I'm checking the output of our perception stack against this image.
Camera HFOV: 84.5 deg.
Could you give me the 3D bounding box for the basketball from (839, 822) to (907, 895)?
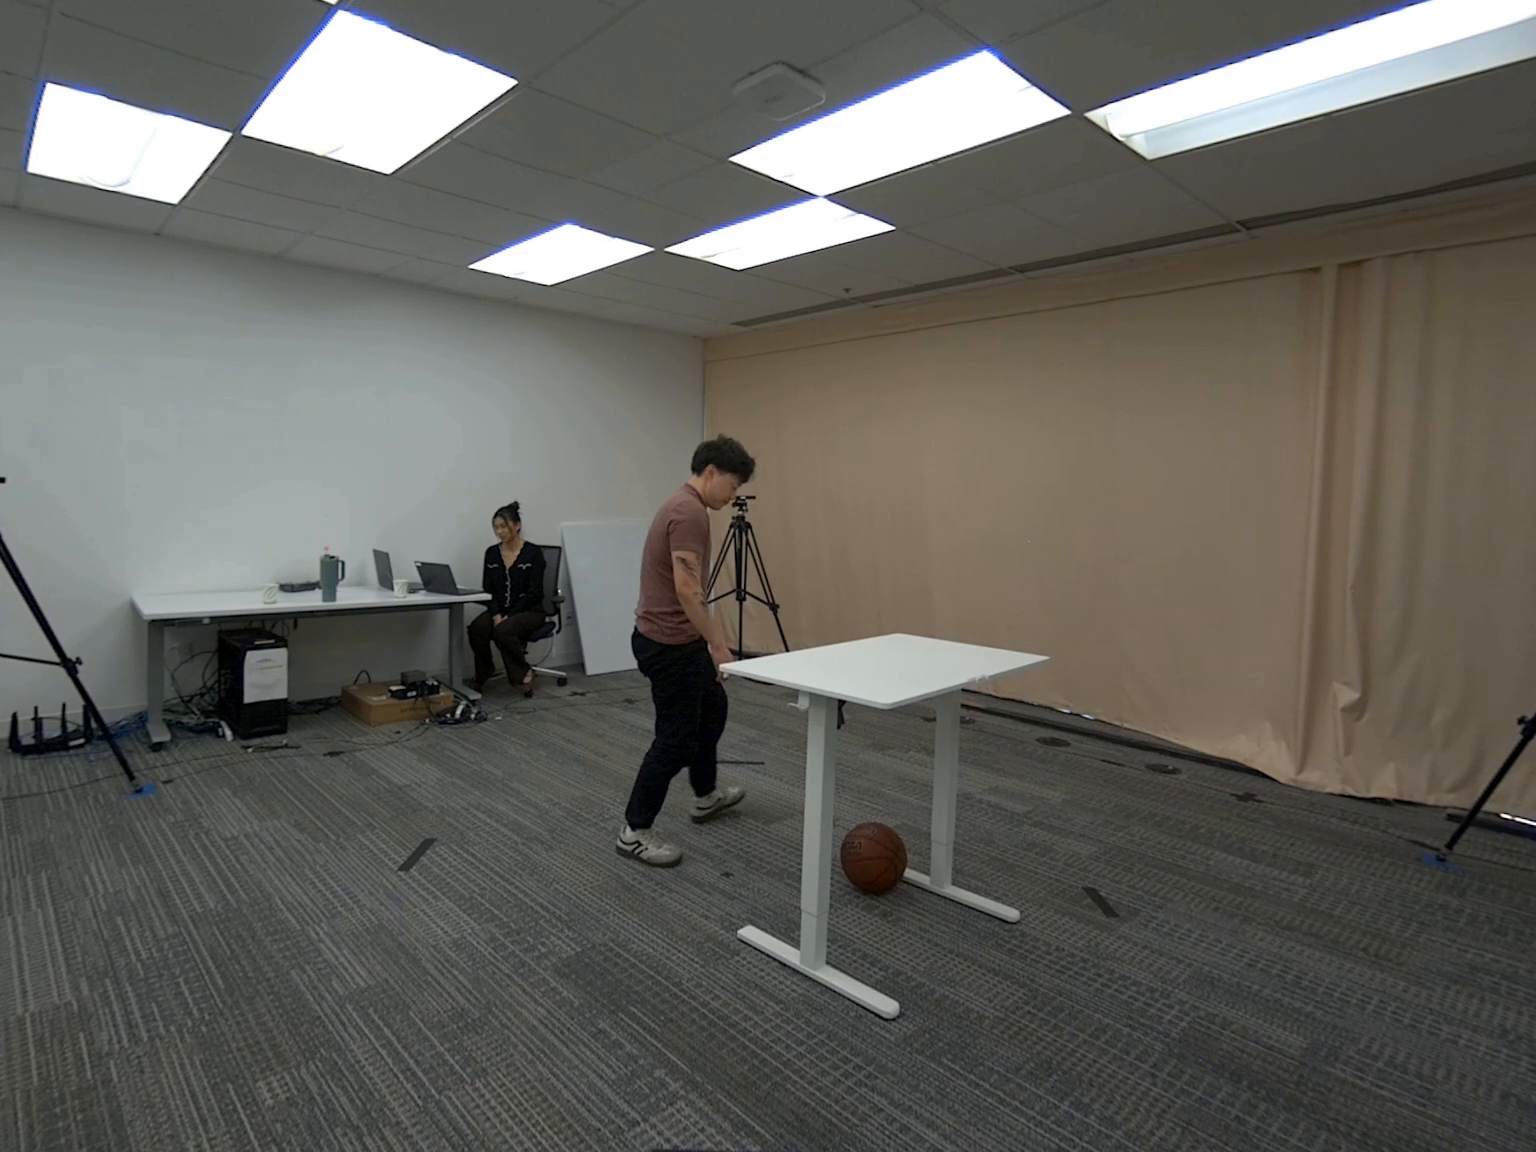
[{"bbox_3d":[0.362,1.004,3.009,0.236,0.235,0.237,1,4,-1],"label":"basketball"}]
